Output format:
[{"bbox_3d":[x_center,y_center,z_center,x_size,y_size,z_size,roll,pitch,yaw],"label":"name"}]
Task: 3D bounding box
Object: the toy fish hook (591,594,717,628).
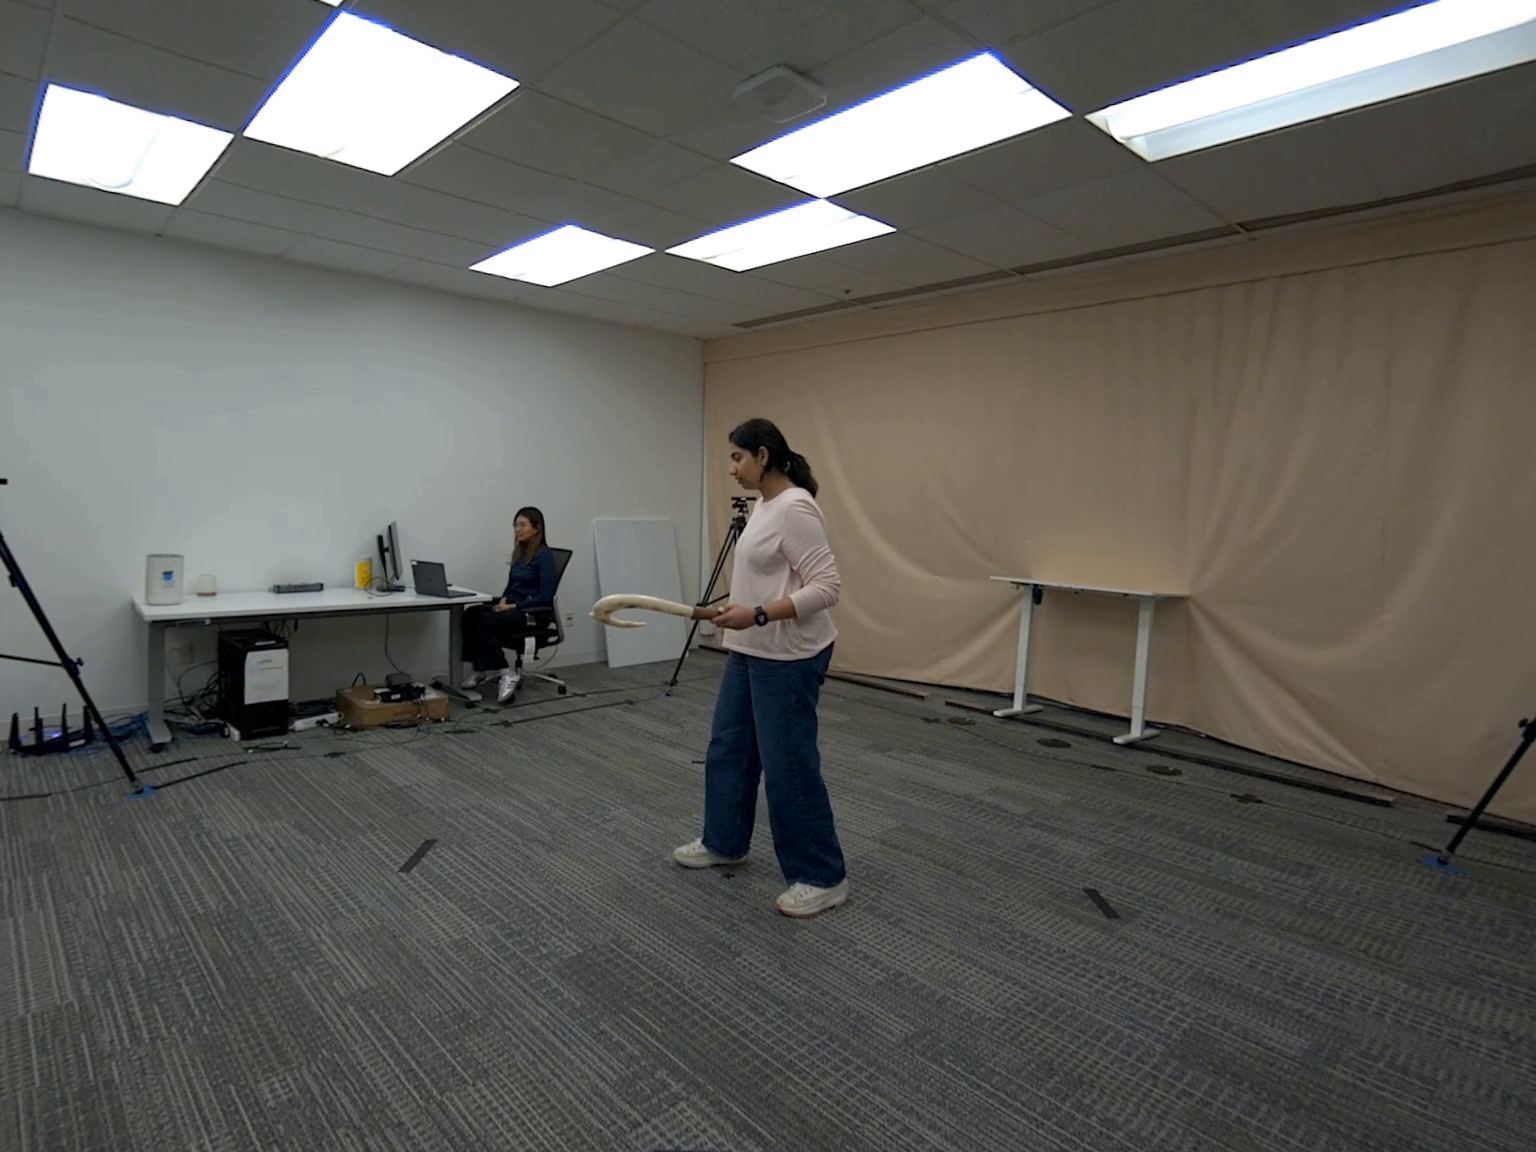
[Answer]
[{"bbox_3d":[-0.315,0.128,2.692,0.499,0.049,0.224,7,-24,-19],"label":"toy fish hook"}]
